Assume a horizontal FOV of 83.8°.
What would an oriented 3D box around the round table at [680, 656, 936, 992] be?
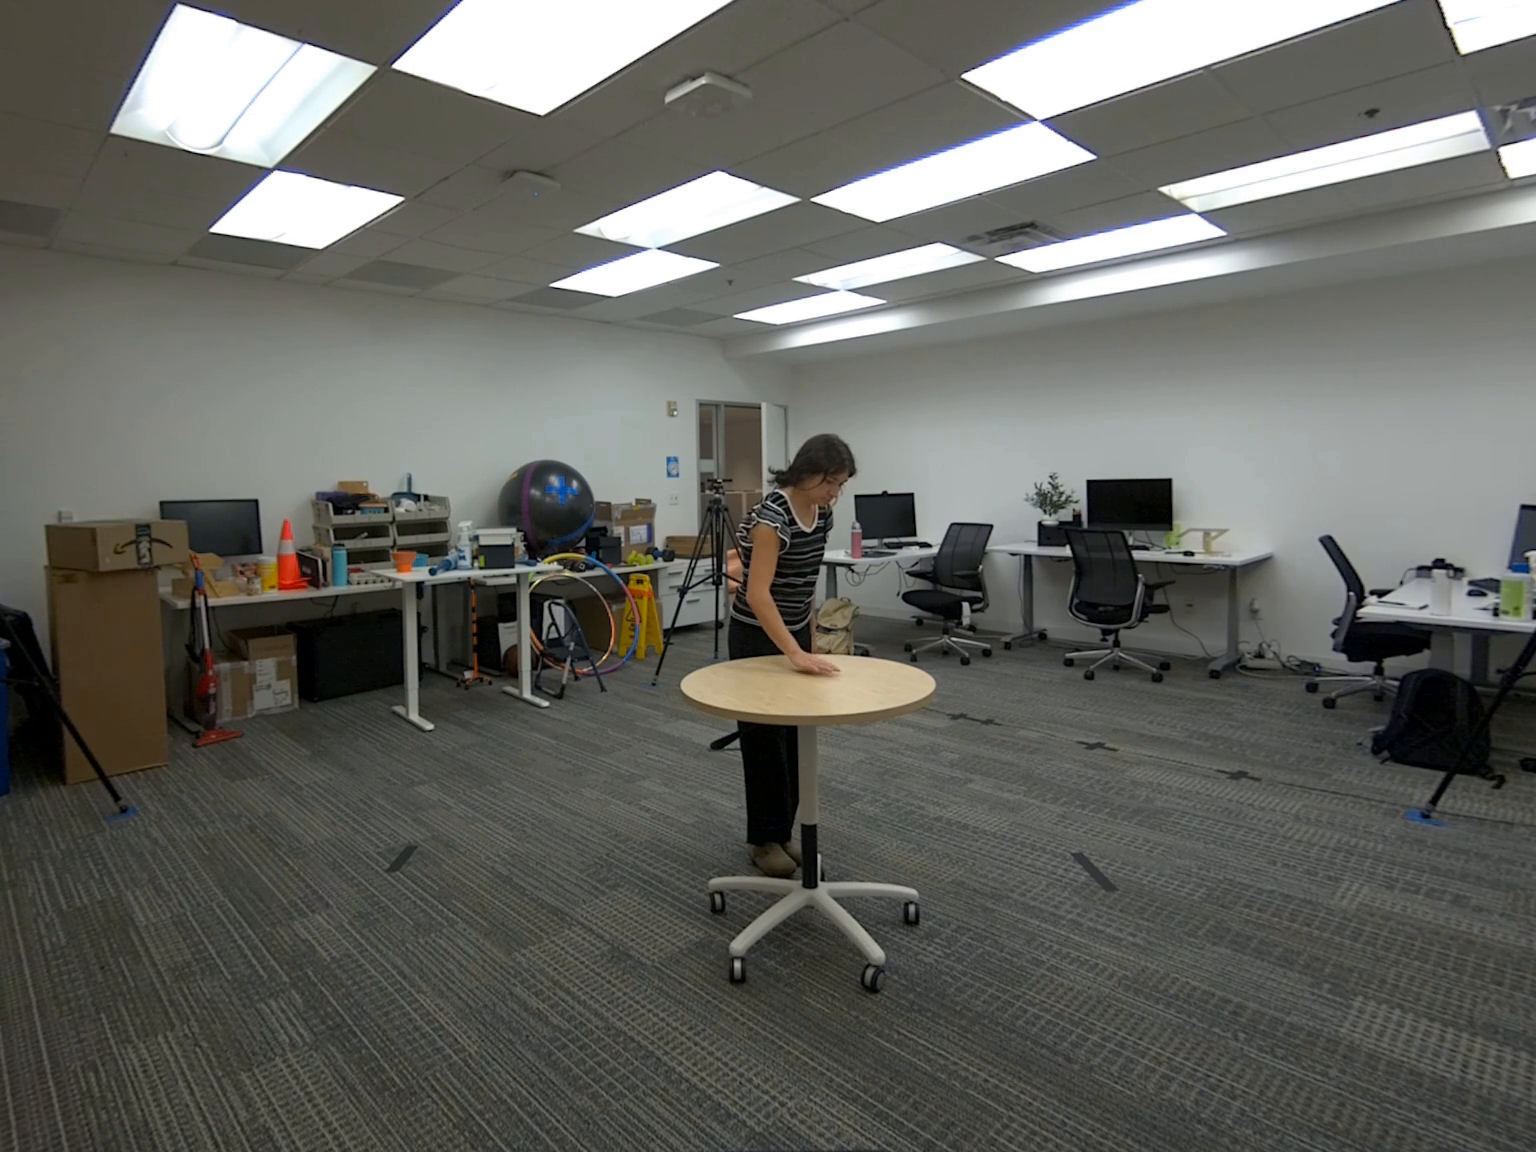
[{"bbox_3d":[0.131,0.712,2.616,0.763,0.791,0.768,-2,5,-2],"label":"round table"}]
